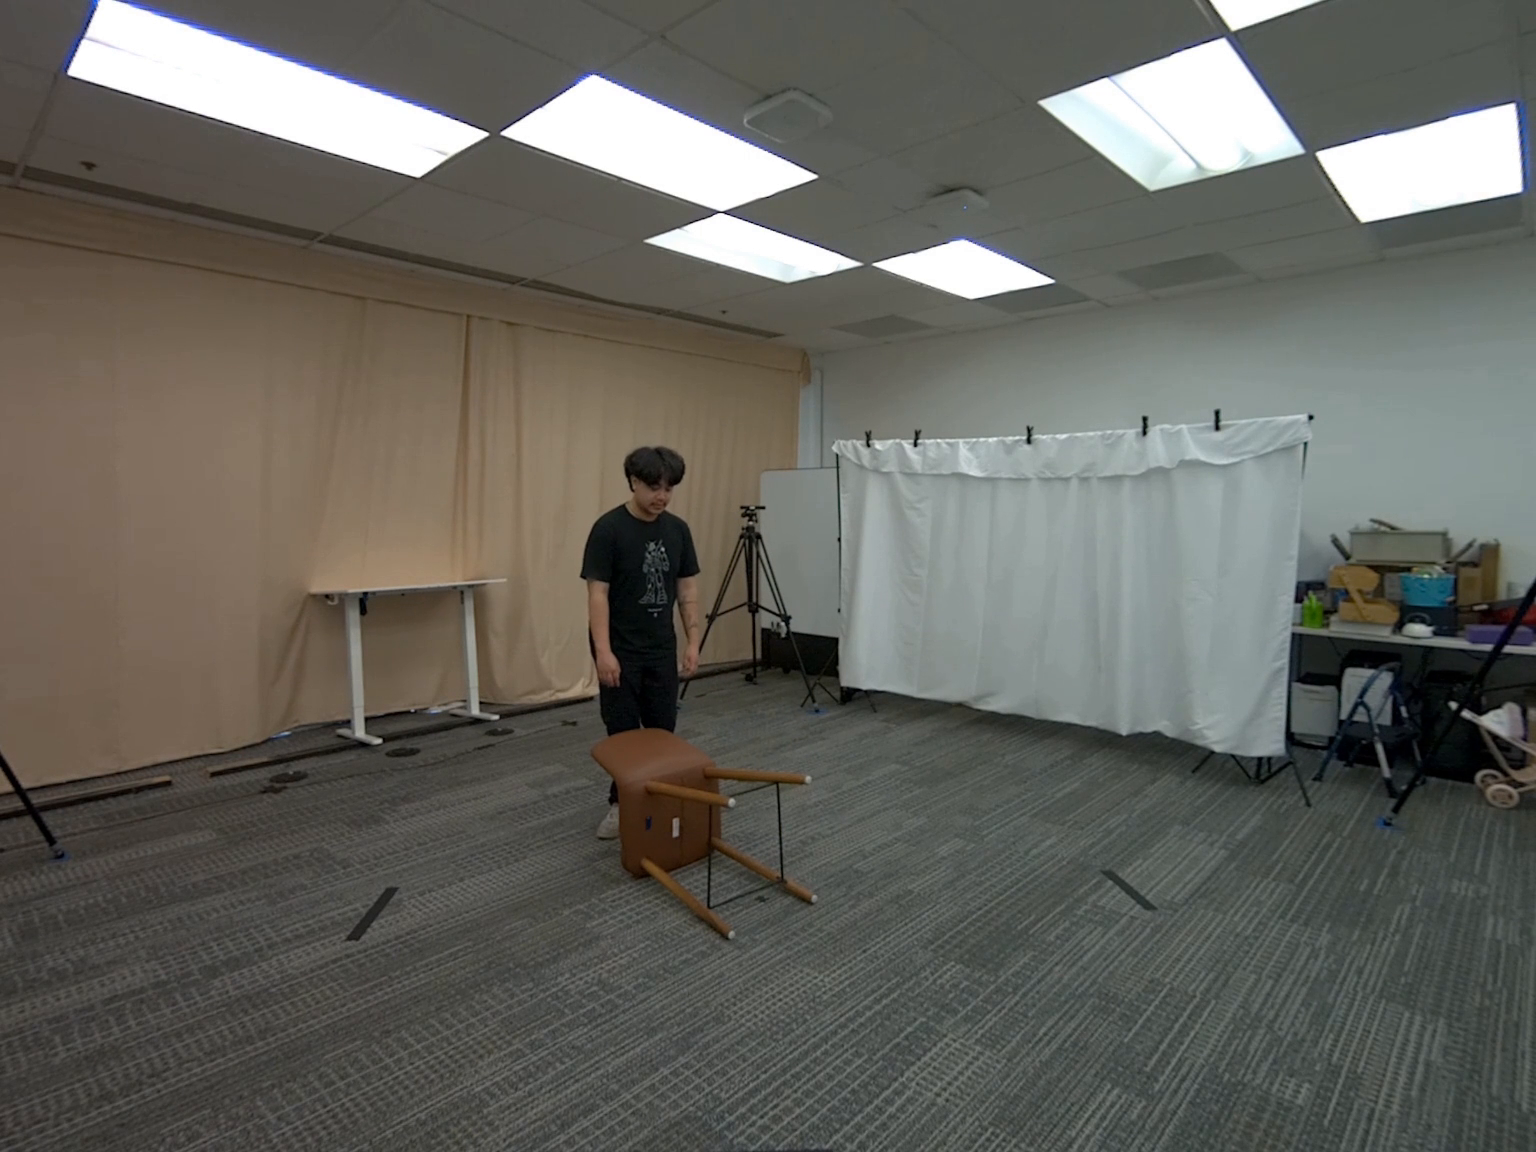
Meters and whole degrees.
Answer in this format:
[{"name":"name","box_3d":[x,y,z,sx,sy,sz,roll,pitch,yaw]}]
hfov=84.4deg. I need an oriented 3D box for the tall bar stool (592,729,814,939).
[{"name":"tall bar stool","box_3d":[-0.273,0.905,3.149,0.443,0.466,0.920,-5,7,-41]}]
